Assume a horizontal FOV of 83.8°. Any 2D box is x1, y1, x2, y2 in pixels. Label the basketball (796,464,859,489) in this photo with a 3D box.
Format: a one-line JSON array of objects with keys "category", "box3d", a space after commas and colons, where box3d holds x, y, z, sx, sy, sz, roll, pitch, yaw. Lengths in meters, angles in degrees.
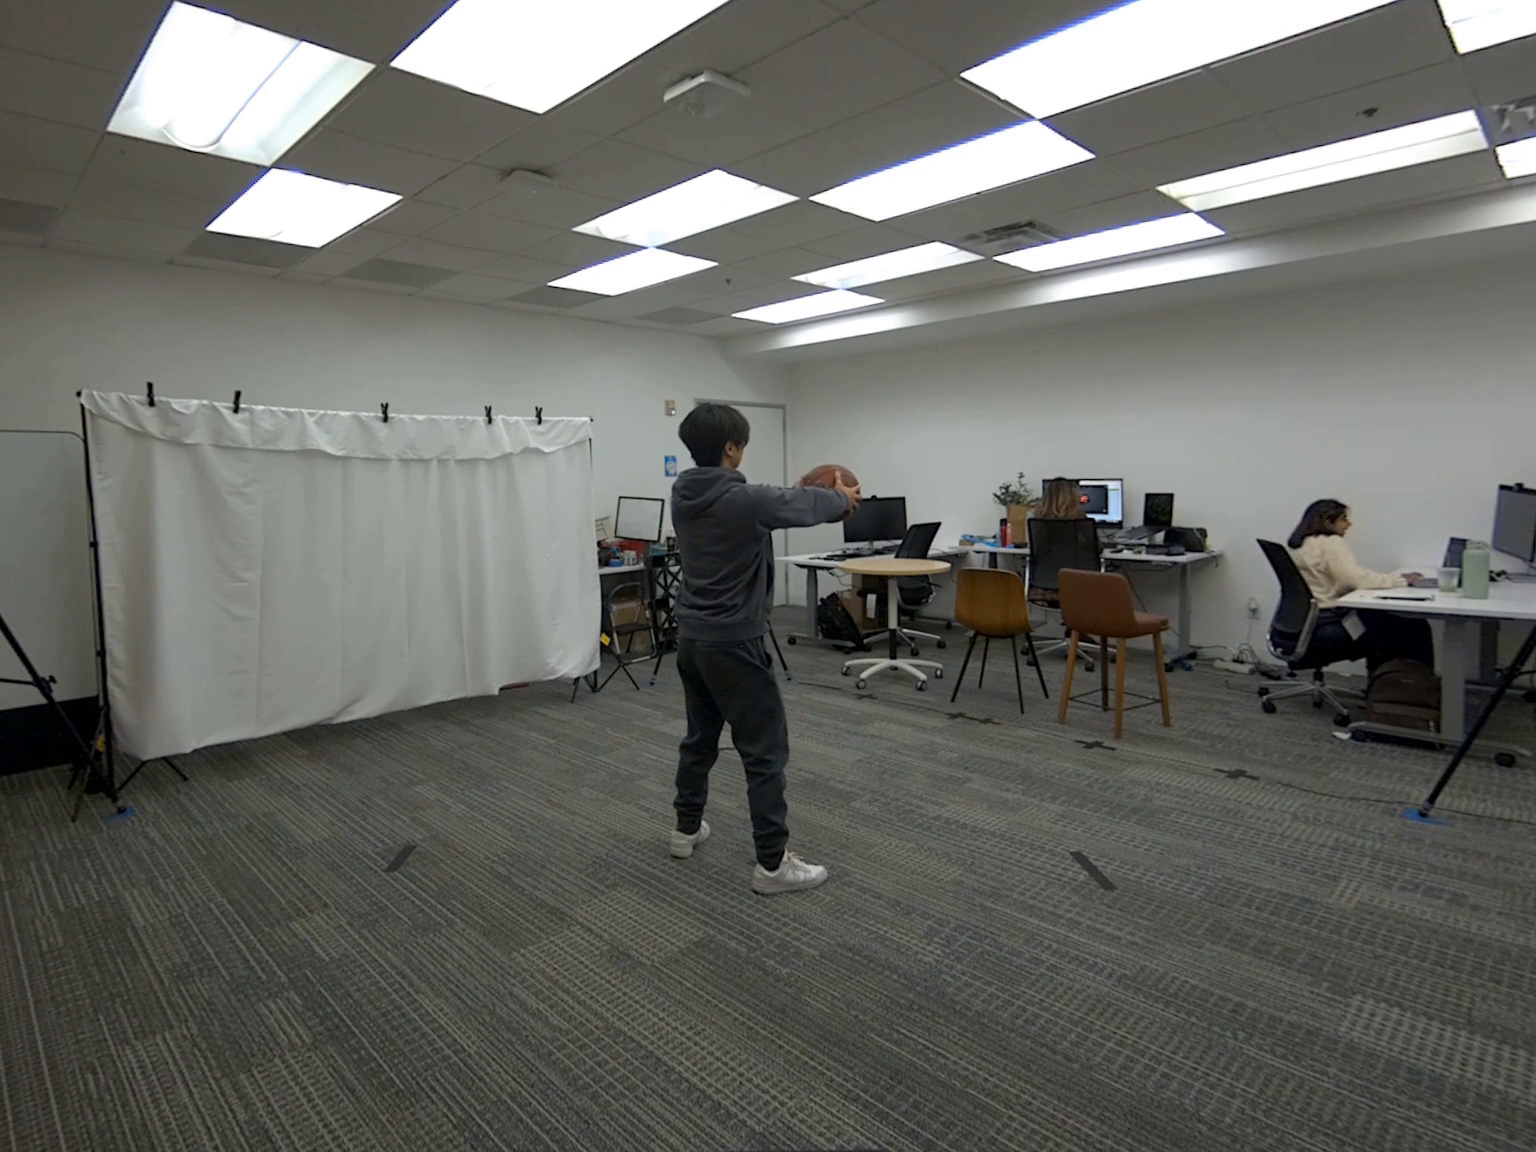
[{"category": "basketball", "box3d": [0.253, -0.323, 3.424, 0.236, 0.235, 0.237, -1, 5, -2]}]
